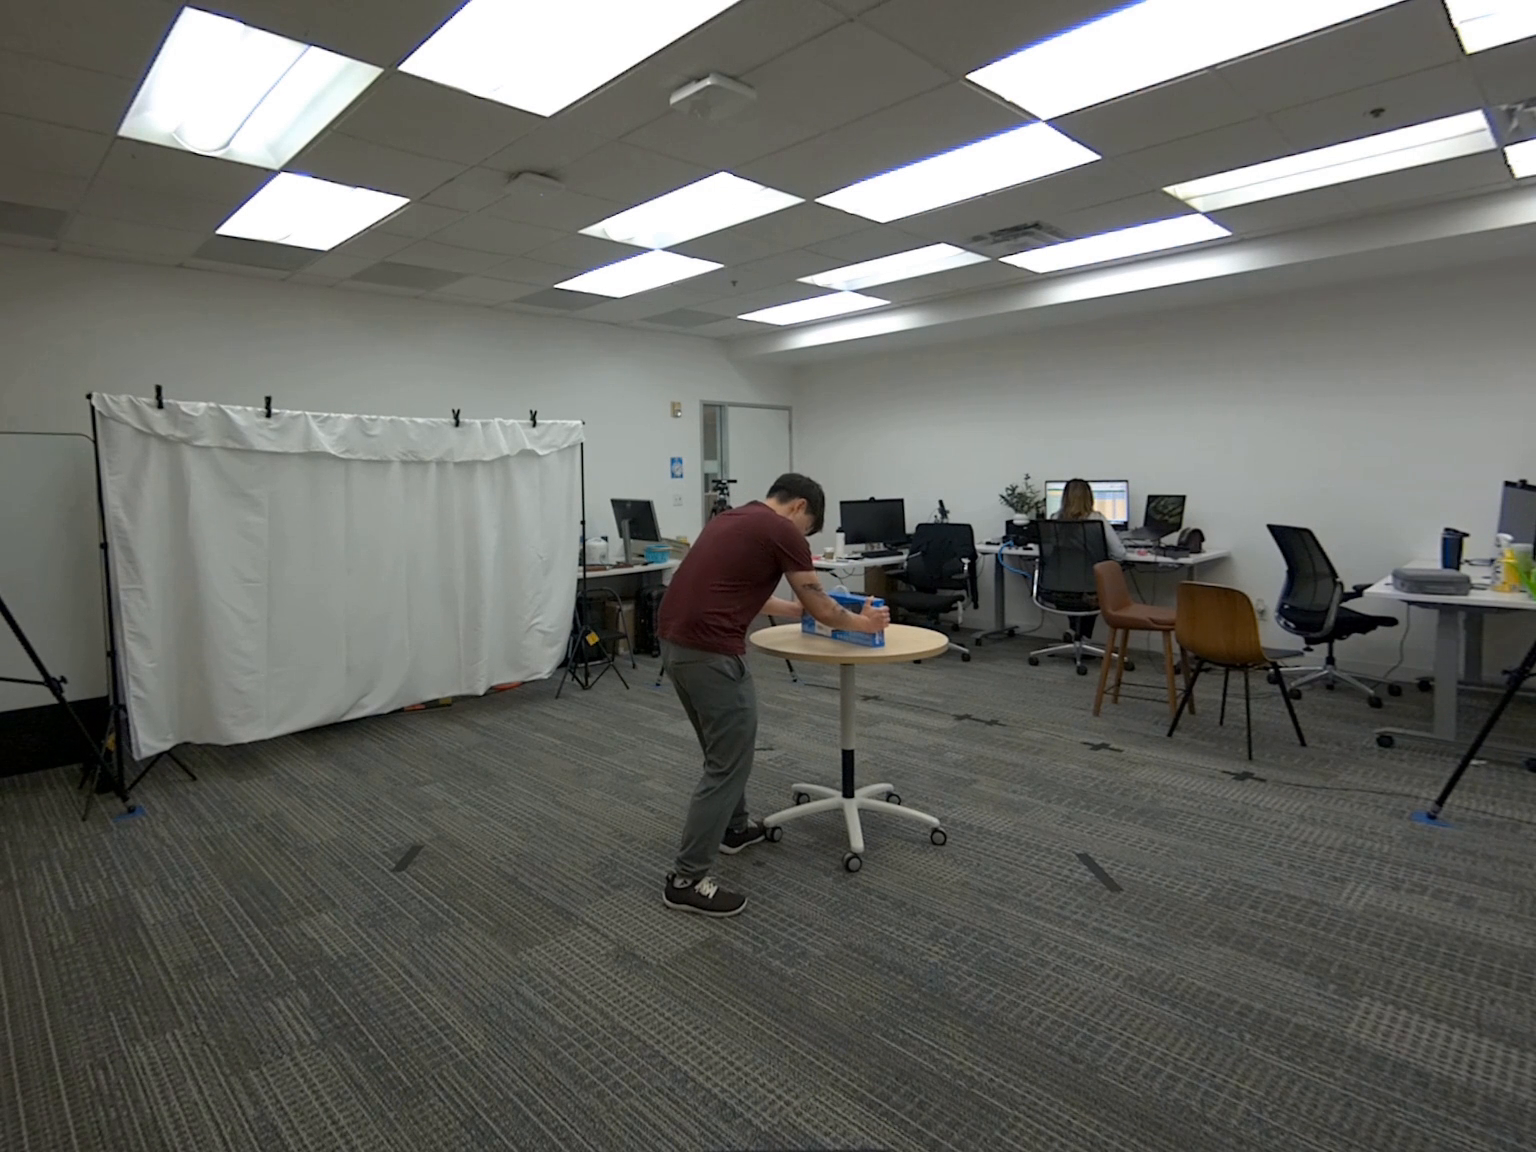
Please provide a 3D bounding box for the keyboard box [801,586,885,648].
[{"bbox_3d":[0.289,0.162,3.313,0.057,0.175,0.449,0,4,-33],"label":"keyboard box"}]
